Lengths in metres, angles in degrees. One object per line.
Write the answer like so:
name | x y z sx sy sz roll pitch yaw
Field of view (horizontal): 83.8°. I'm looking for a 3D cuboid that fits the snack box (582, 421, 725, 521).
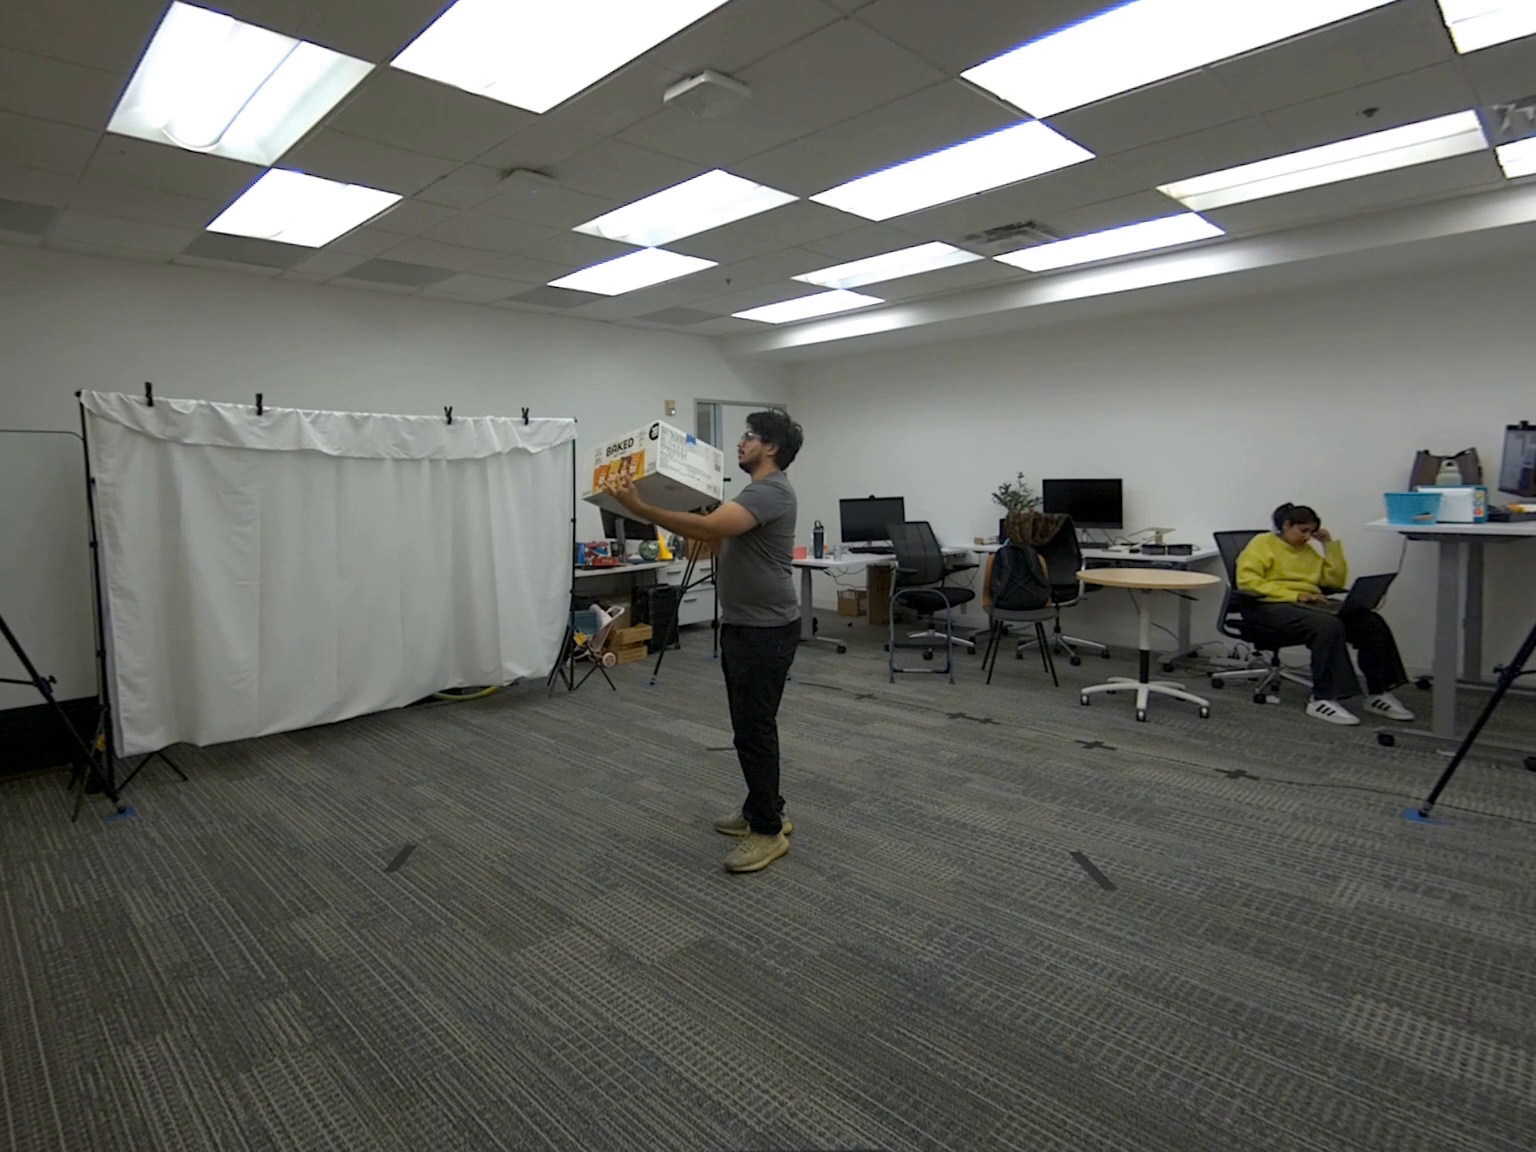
snack box | -0.429 -0.377 3.201 0.413 0.209 0.328 -14 -23 38
